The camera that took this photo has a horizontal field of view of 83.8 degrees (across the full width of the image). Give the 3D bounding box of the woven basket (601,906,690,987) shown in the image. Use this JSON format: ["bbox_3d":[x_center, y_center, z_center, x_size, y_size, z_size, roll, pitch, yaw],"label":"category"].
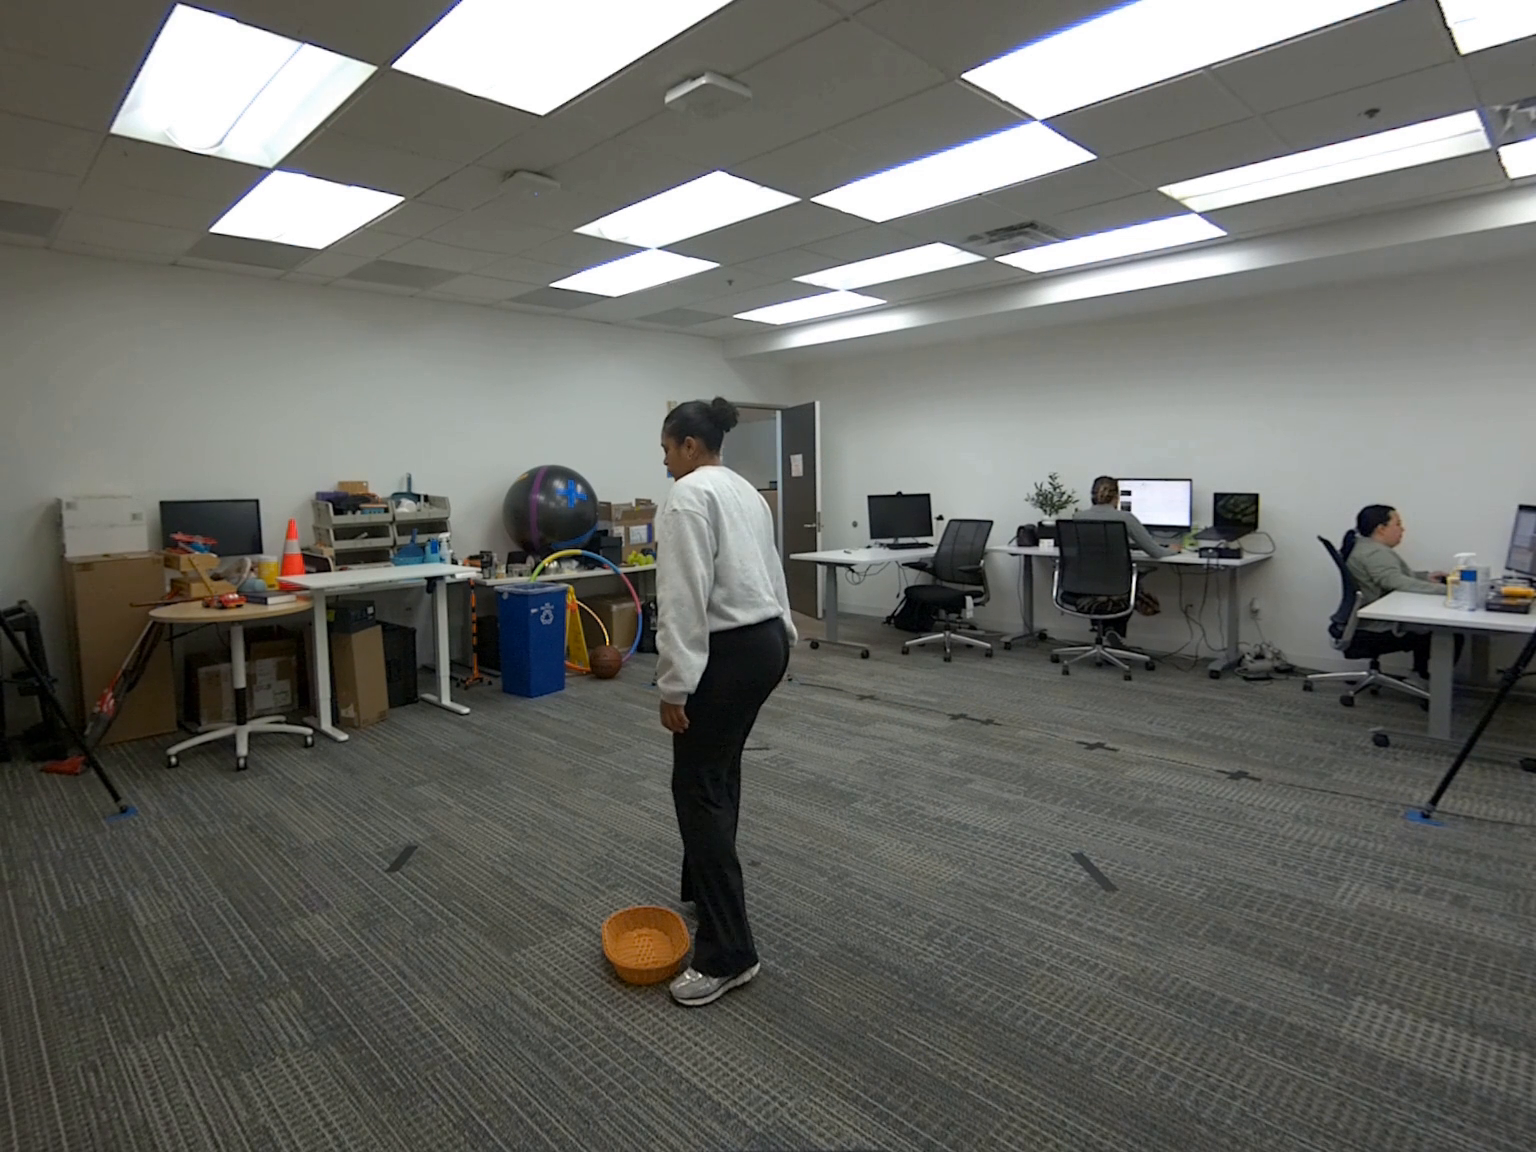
[{"bbox_3d":[-0.361,1.084,2.519,0.249,0.073,0.356,-2,6,-13],"label":"woven basket"}]
